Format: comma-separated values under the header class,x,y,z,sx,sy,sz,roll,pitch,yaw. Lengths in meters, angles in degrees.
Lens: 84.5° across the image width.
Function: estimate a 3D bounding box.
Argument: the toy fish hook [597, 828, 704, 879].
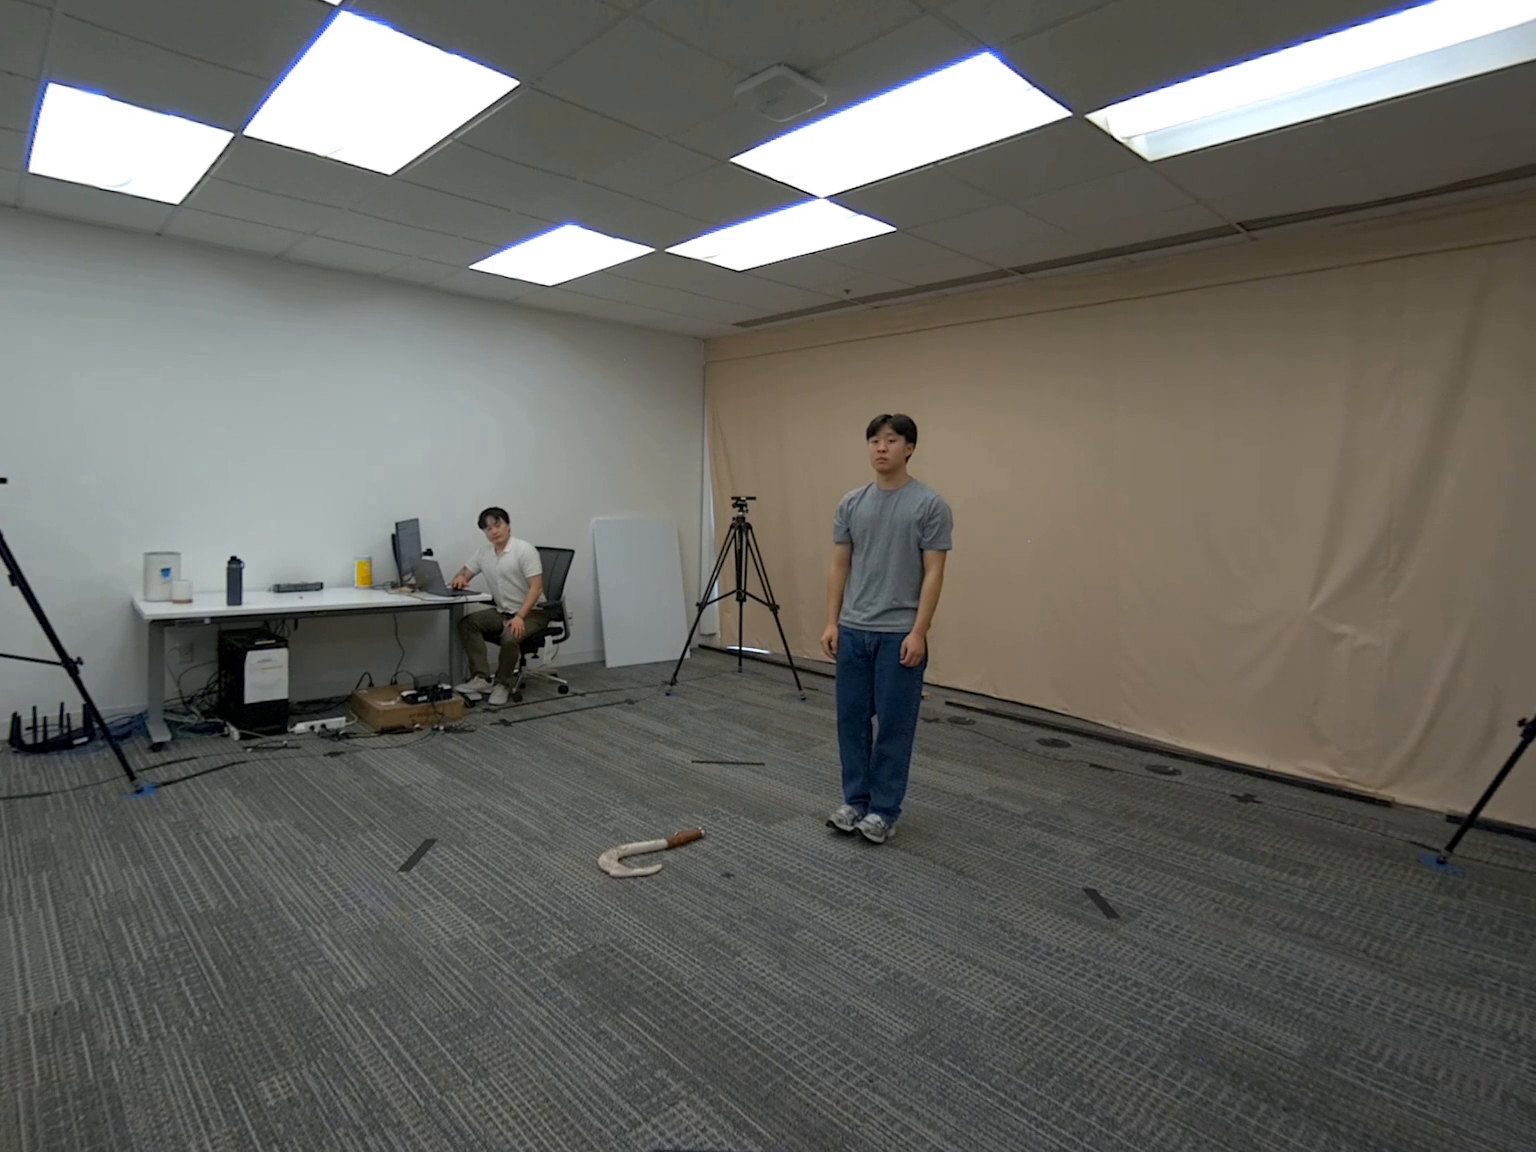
class,x,y,z,sx,sy,sz,roll,pitch,yaw
toy fish hook,-0.420,1.072,3.252,0.495,0.048,0.231,-4,15,-41
